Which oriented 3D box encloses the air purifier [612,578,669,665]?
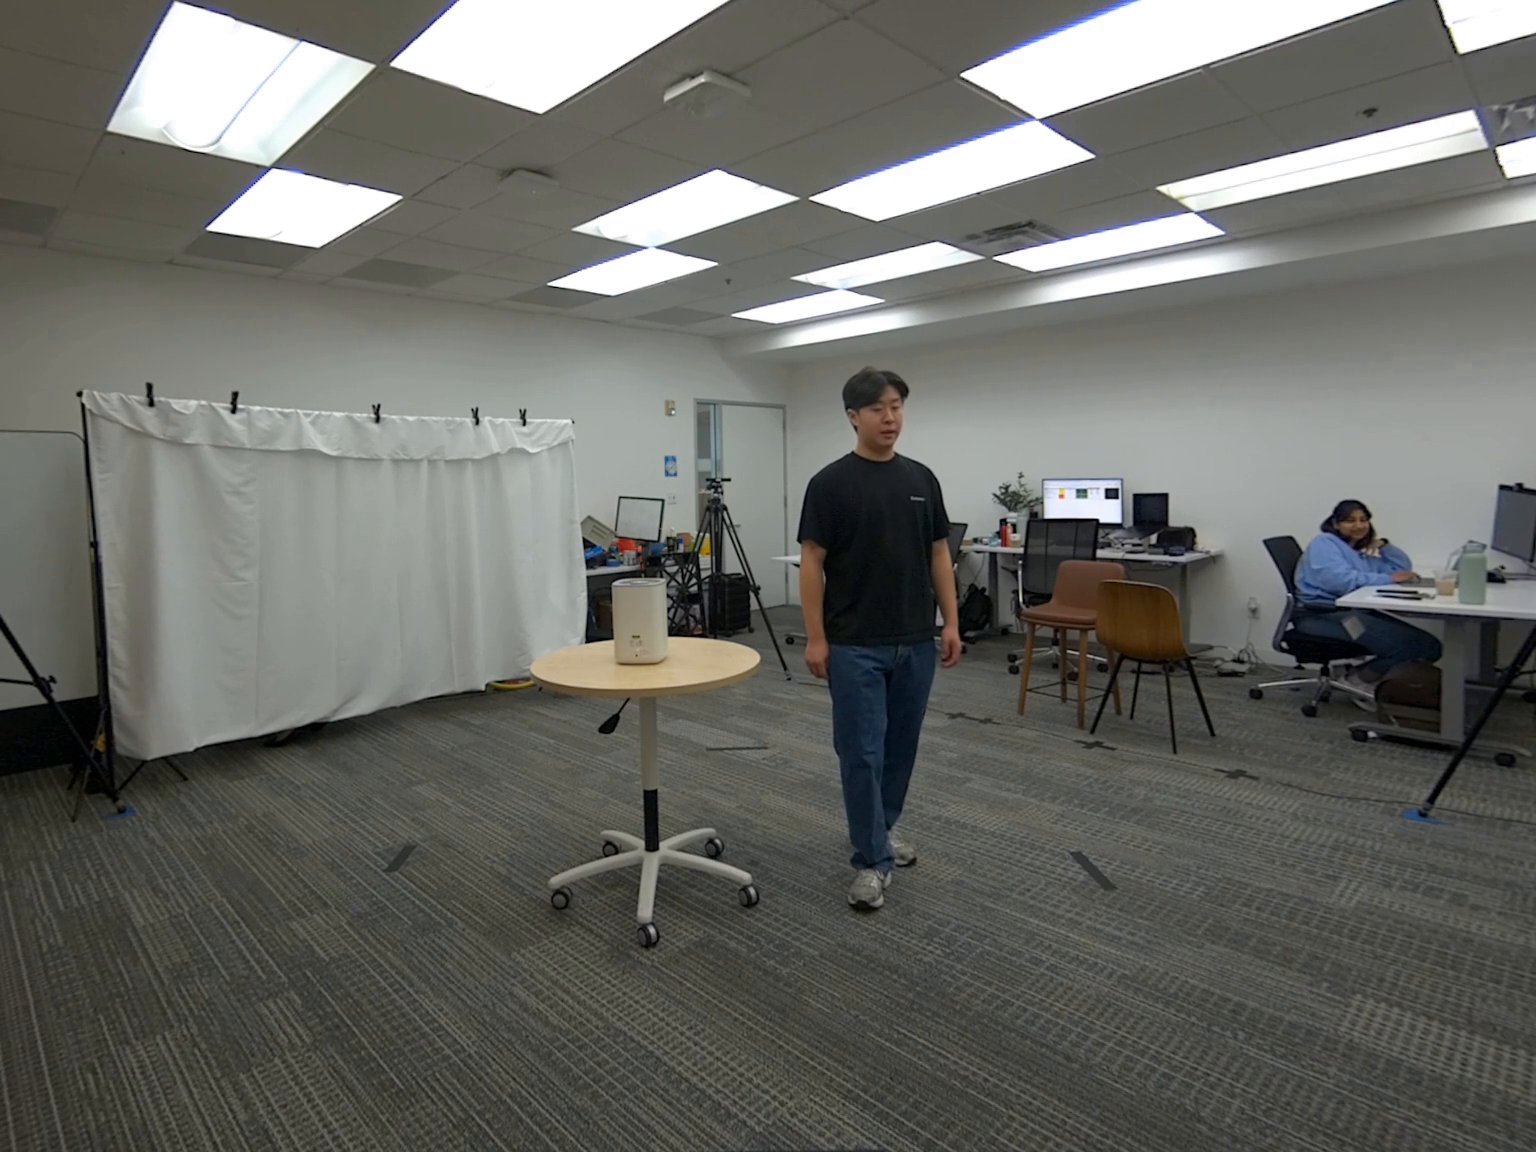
[{"bbox_3d":[-0.420,0.152,2.845,0.172,0.264,0.171,-1,5,5],"label":"air purifier"}]
